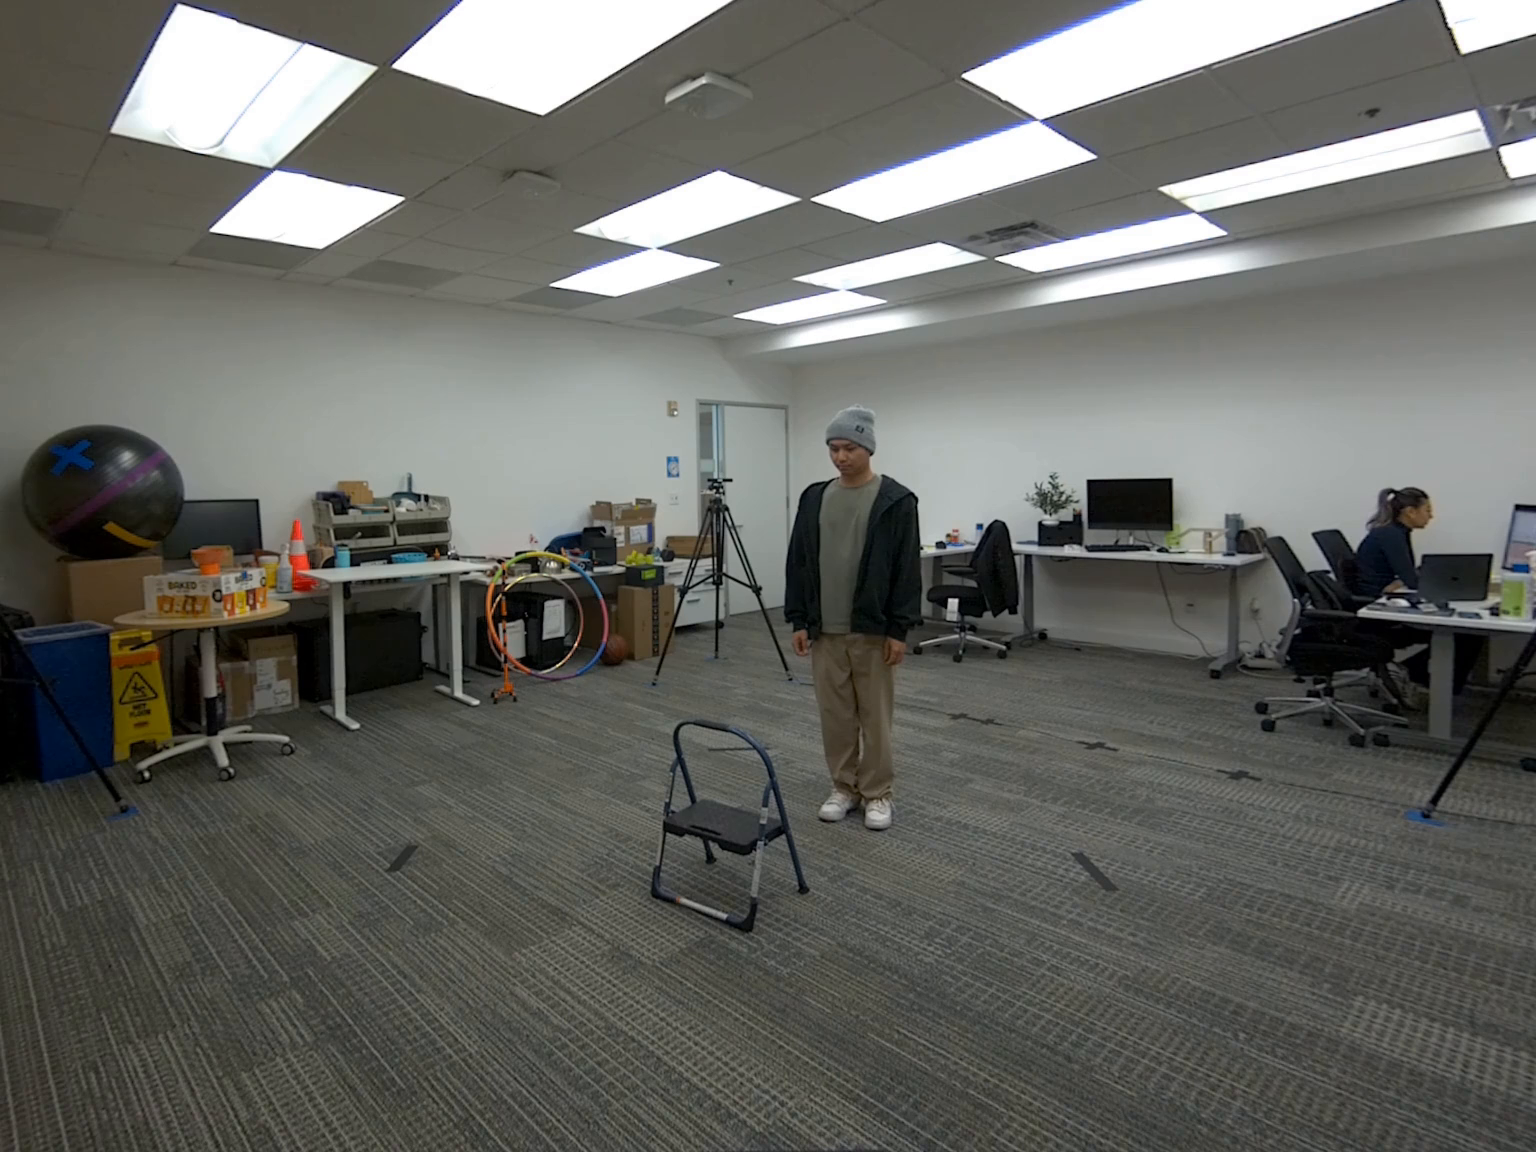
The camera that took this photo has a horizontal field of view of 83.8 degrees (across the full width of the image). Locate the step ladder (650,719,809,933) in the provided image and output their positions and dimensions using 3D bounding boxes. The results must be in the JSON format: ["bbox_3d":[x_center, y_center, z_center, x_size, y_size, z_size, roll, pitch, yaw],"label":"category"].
[{"bbox_3d":[-0.134,0.770,2.867,0.443,0.604,0.341,2,5,35],"label":"step ladder"}]
